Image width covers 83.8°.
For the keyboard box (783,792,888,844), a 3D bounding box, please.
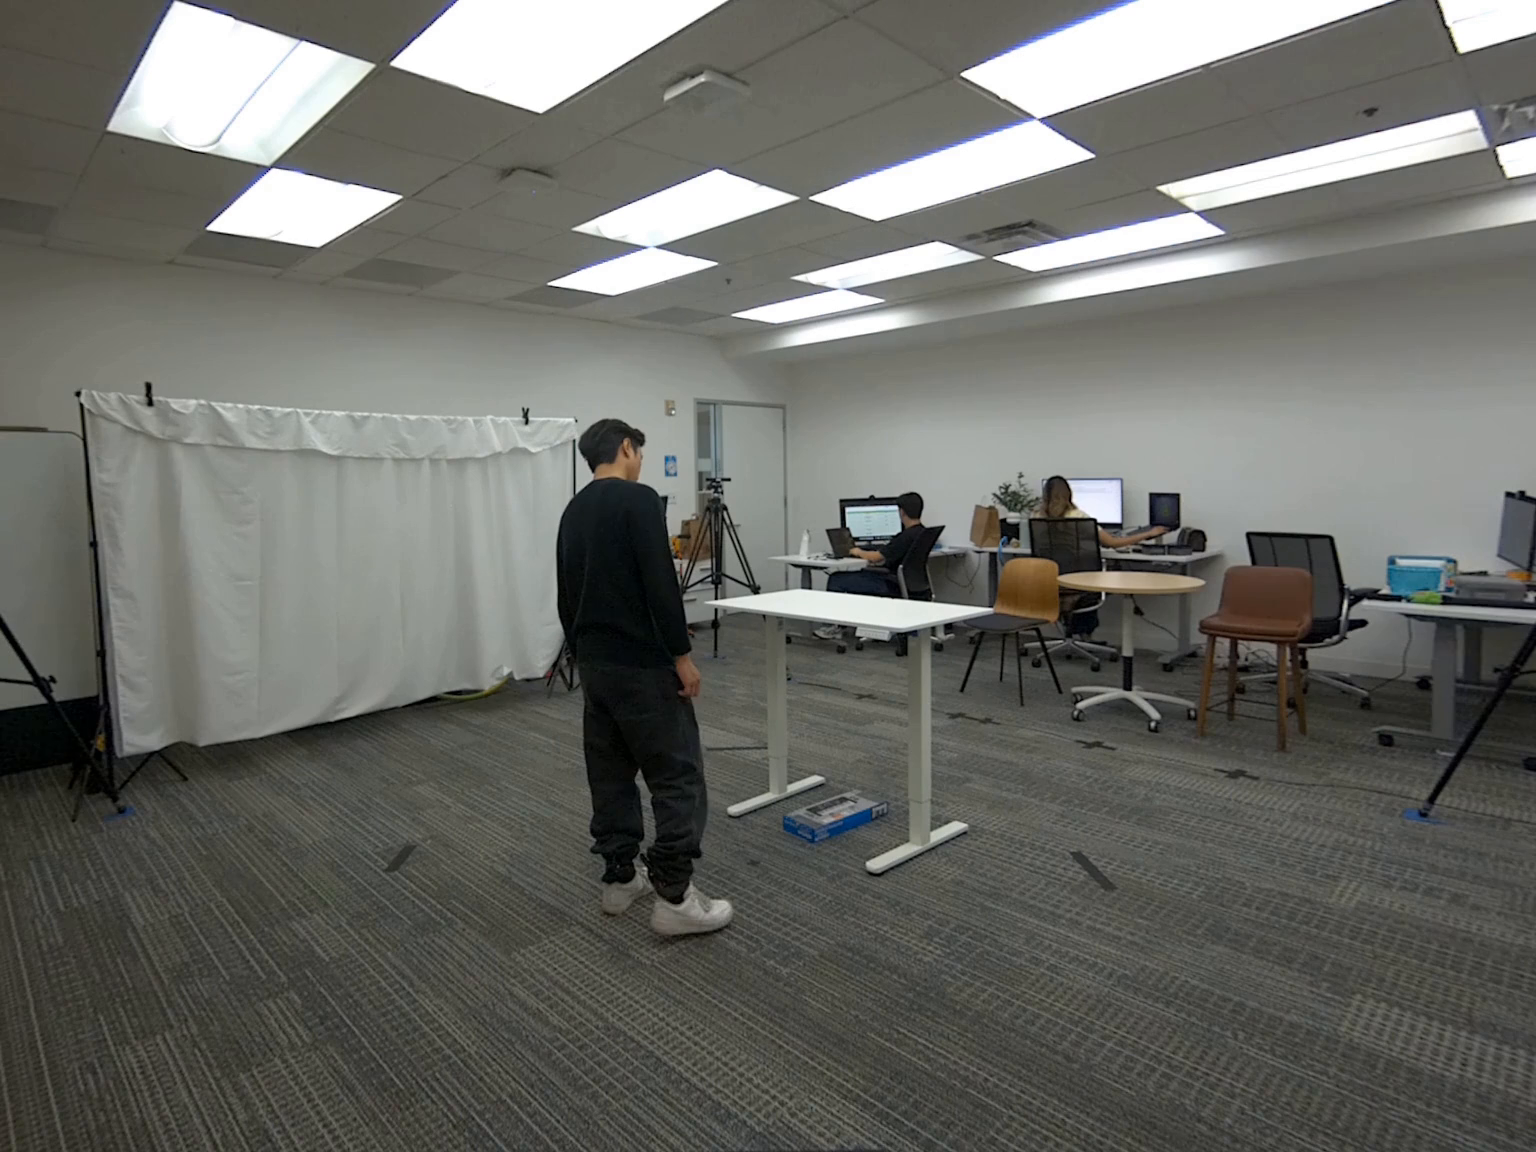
[{"bbox_3d":[0.281,0.967,3.460,0.425,0.059,0.181,-7,9,-40],"label":"keyboard box"}]
